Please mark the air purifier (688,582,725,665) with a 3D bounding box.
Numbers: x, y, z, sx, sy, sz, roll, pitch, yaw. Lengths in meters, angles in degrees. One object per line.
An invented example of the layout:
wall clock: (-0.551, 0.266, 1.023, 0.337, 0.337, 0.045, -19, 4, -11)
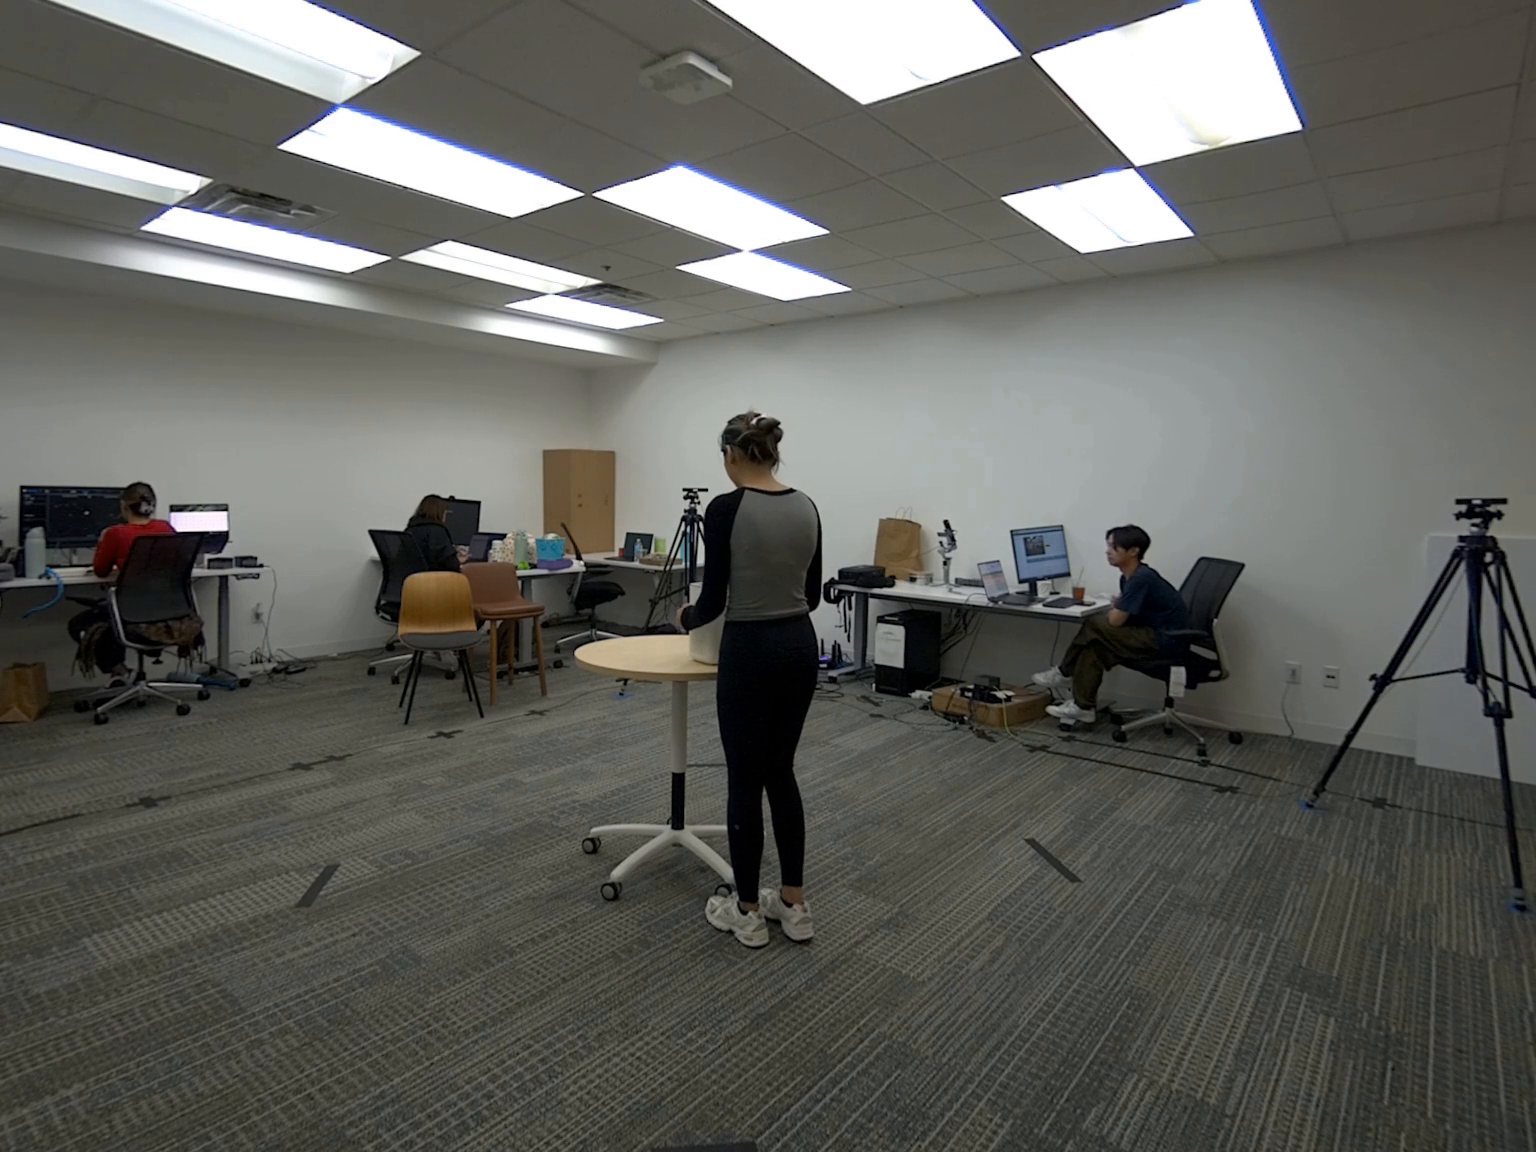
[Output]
air purifier: (-0.183, 0.159, 2.936, 0.167, 0.265, 0.176, -2, 3, -35)
